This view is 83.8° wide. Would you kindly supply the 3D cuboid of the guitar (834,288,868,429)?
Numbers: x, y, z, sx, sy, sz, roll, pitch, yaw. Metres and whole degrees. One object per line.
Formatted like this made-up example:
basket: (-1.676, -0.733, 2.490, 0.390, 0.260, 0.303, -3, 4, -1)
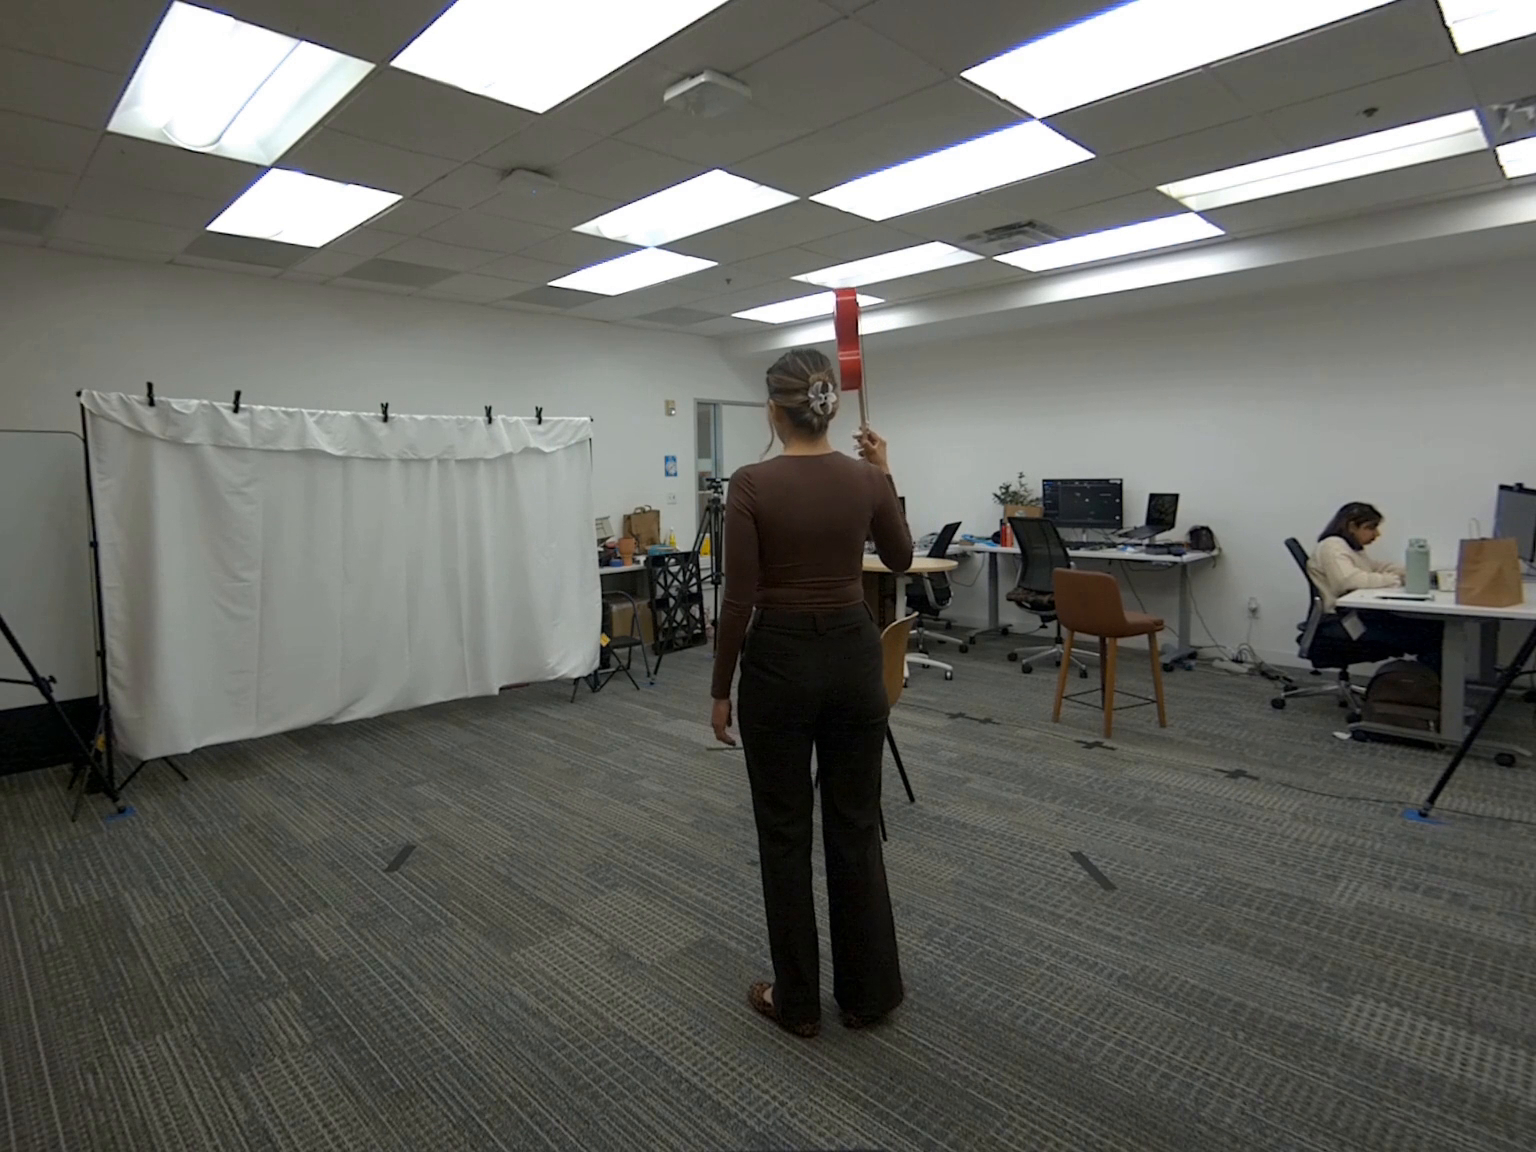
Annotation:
guitar: (0.239, -0.539, 2.320, 0.071, 0.497, 0.192, -6, 1, 5)
